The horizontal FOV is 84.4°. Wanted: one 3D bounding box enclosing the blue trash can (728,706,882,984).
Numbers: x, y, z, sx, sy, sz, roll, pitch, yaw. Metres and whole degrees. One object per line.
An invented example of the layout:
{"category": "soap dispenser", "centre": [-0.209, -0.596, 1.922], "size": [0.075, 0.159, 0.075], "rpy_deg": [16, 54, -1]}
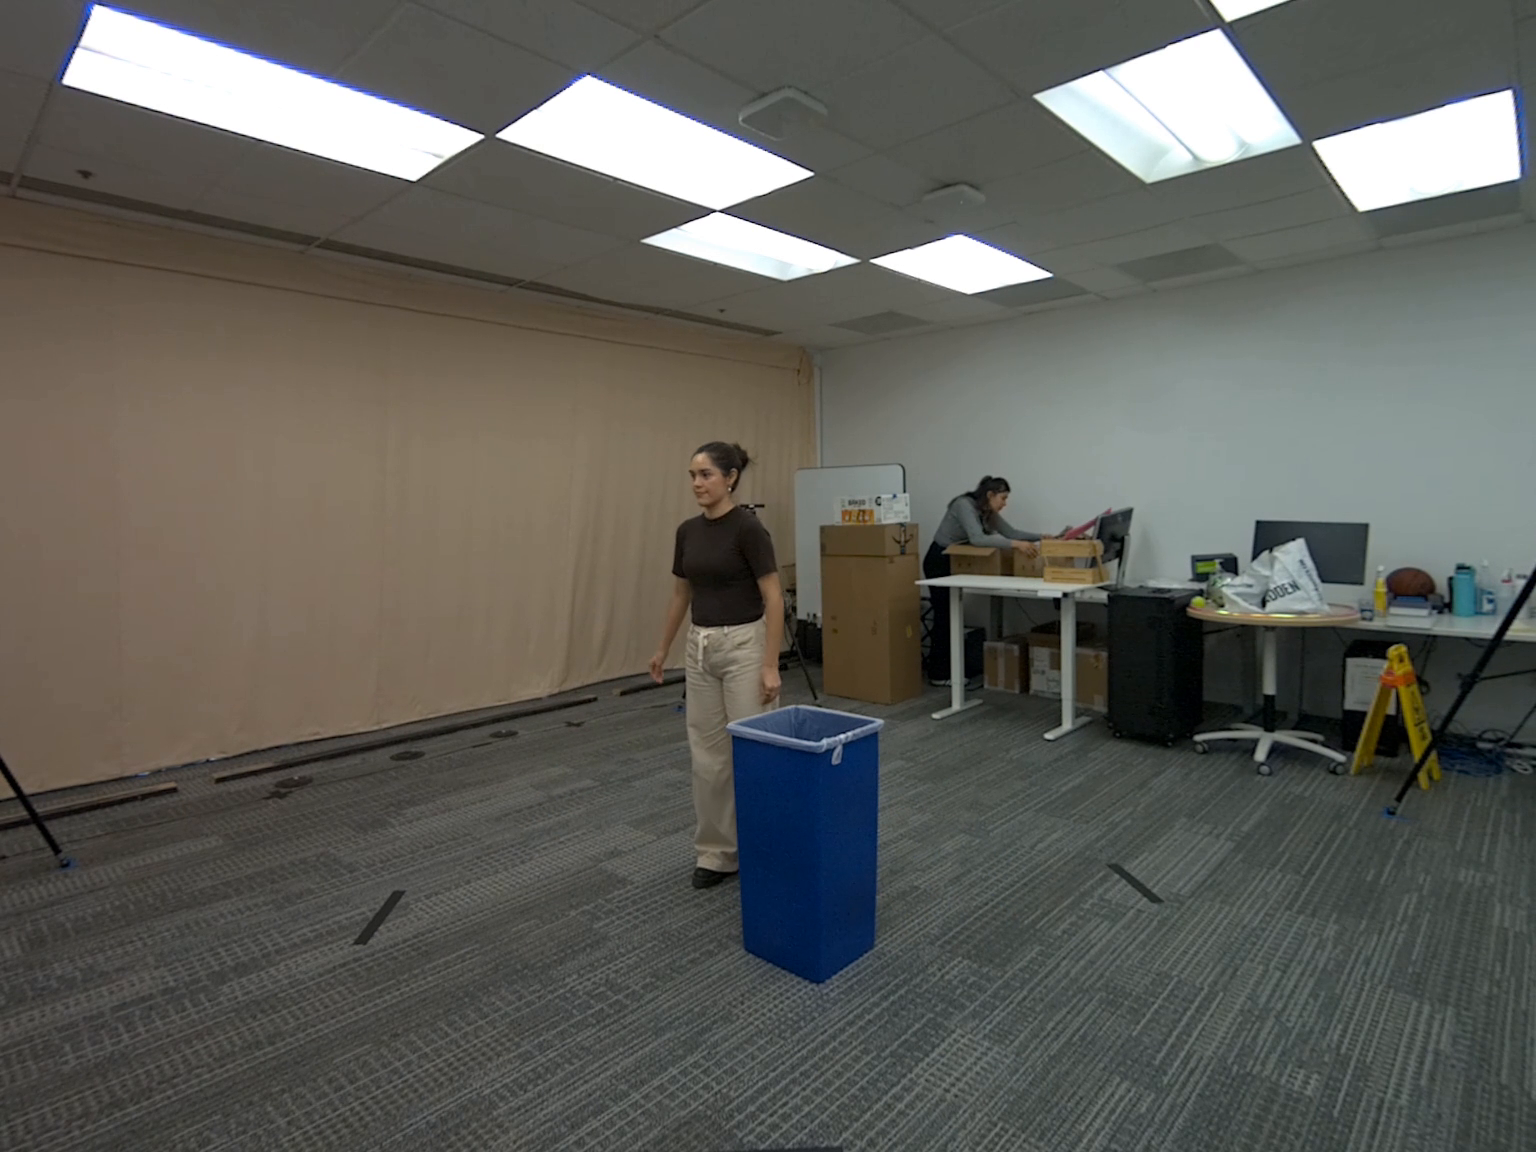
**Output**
{"category": "blue trash can", "centre": [0.122, 0.810, 2.623], "size": [0.386, 0.712, 0.366], "rpy_deg": [2, 4, 41]}
